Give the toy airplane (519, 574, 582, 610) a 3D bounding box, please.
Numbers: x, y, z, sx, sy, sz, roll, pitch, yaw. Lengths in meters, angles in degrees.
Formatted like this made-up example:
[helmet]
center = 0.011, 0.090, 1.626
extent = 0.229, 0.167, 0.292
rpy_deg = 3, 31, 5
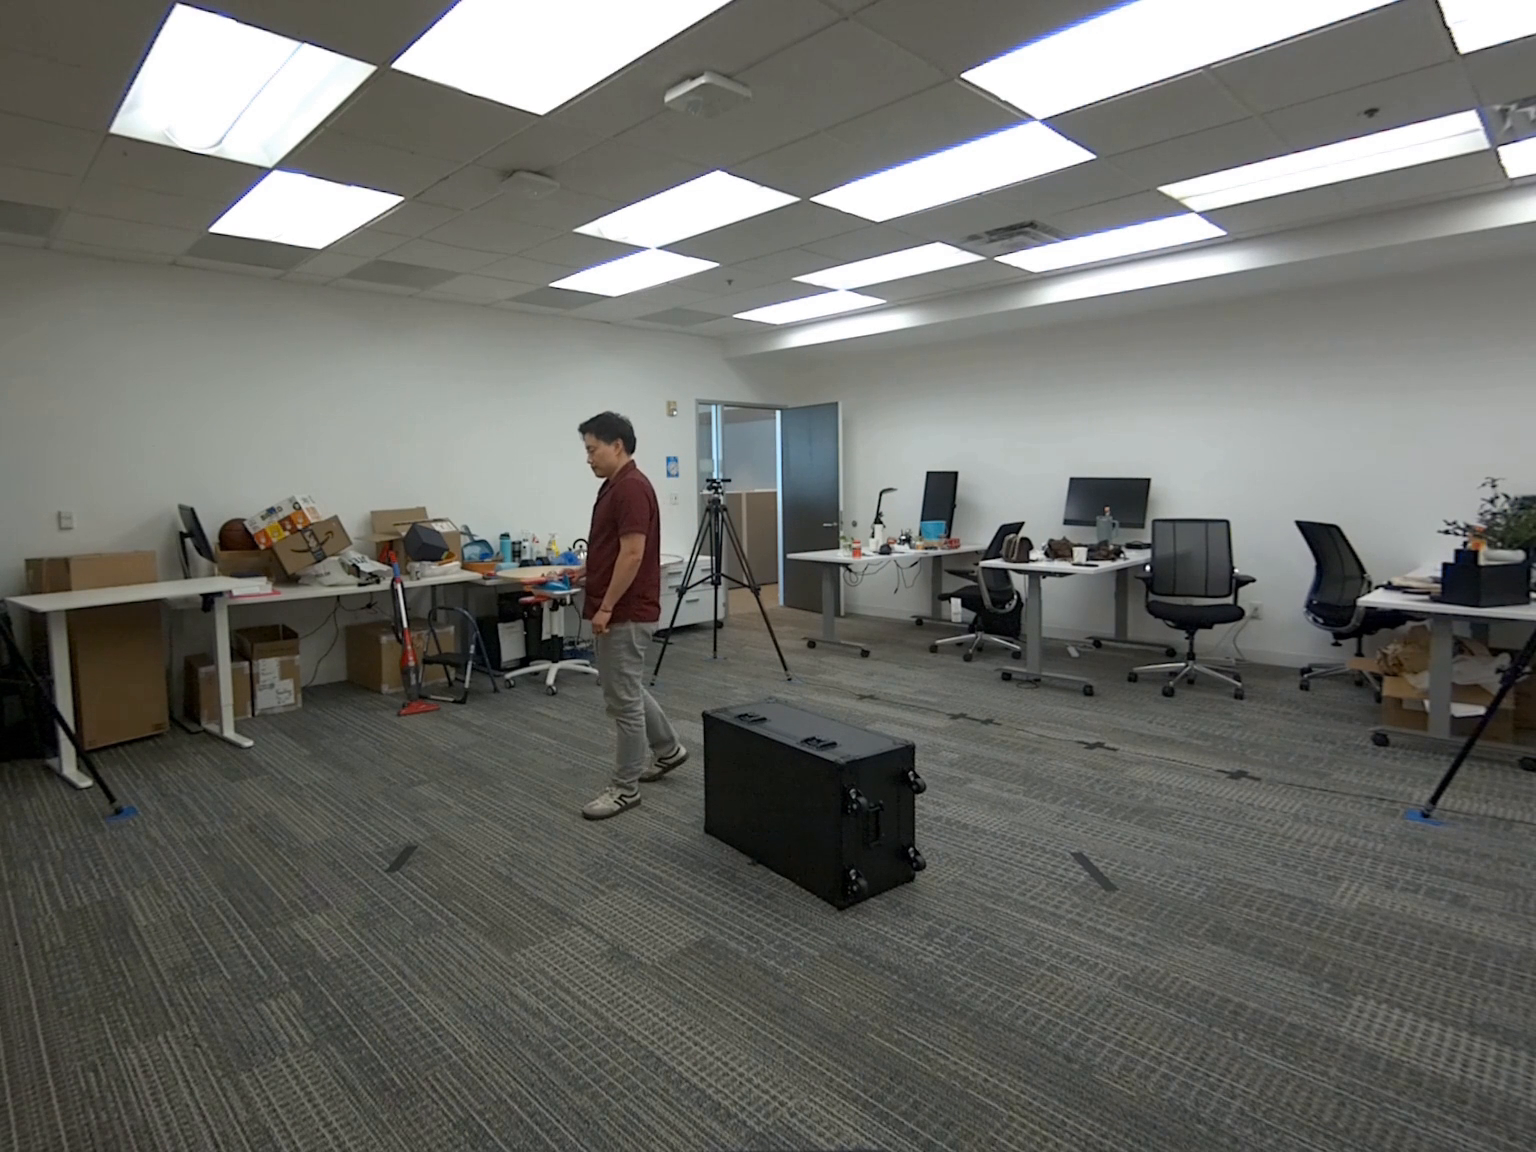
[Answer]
[toy airplane]
center = -0.888, 0.061, 3.586
extent = 0.263, 0.158, 0.246
rpy_deg = -14, -6, 19
